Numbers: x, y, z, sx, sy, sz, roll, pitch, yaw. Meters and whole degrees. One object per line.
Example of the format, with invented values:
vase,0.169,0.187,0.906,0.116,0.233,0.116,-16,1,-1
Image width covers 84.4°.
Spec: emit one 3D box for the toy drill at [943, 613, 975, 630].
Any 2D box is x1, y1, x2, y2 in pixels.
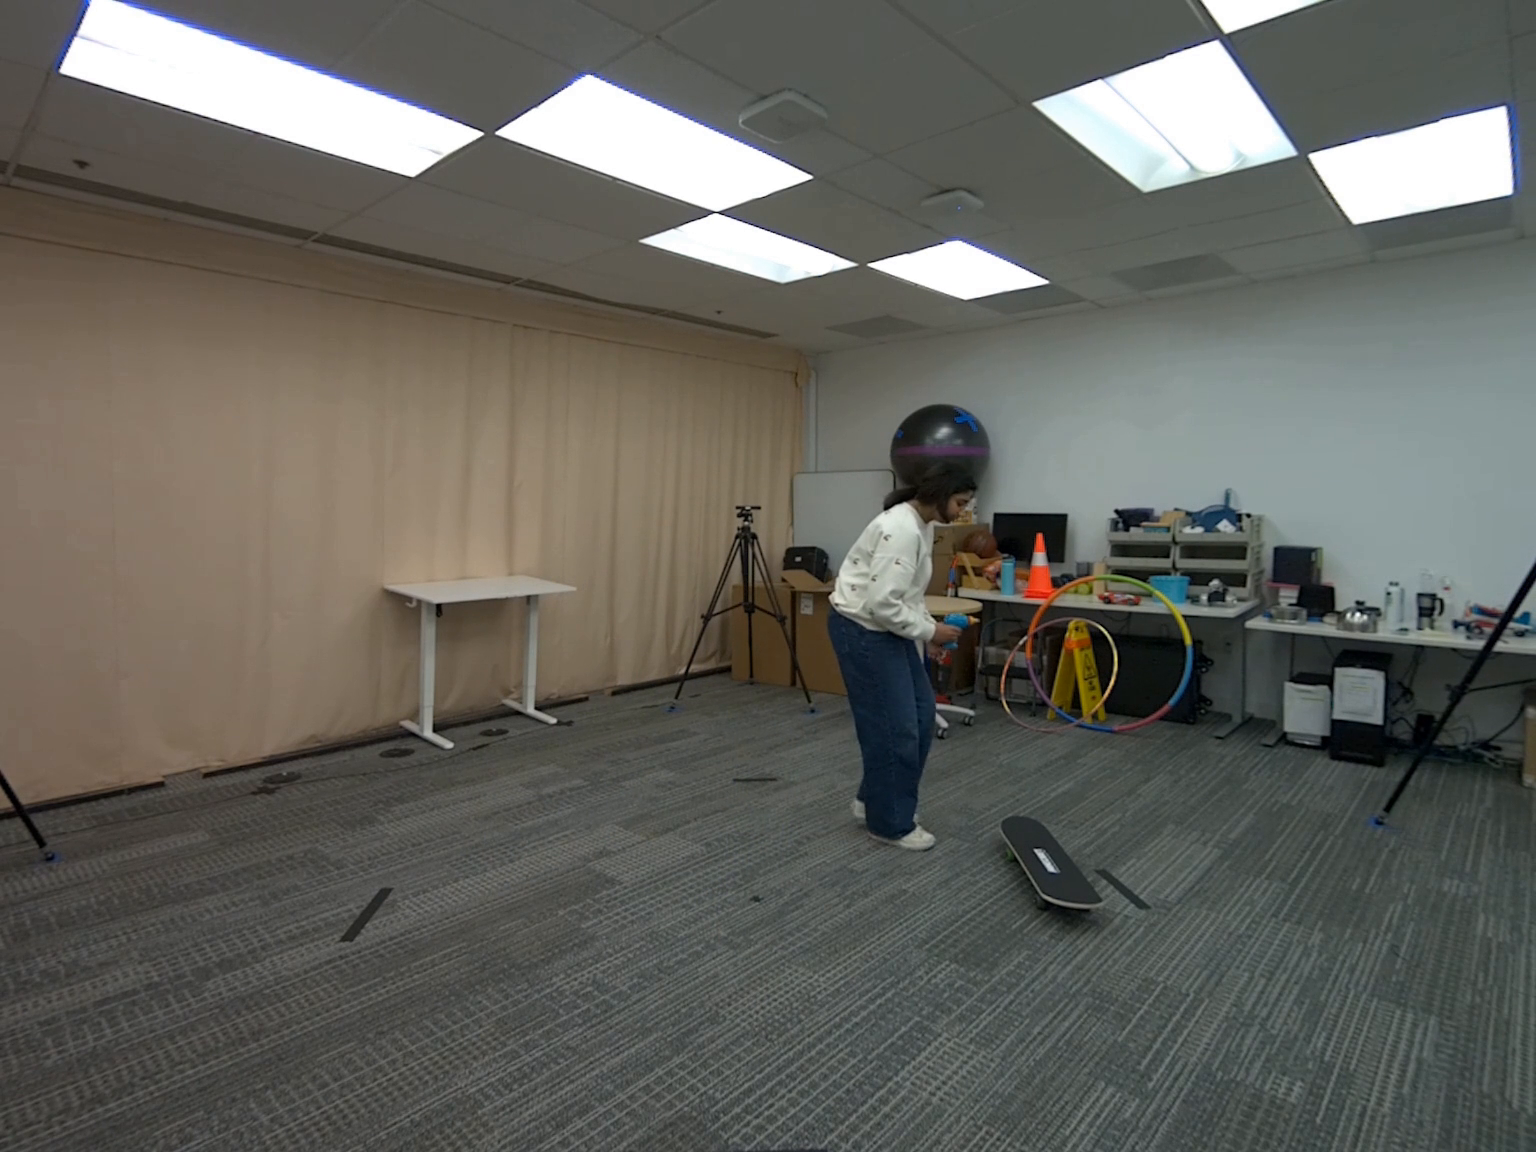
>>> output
toy drill,0.766,0.223,3.366,0.166,0.145,0.063,0,19,-20
